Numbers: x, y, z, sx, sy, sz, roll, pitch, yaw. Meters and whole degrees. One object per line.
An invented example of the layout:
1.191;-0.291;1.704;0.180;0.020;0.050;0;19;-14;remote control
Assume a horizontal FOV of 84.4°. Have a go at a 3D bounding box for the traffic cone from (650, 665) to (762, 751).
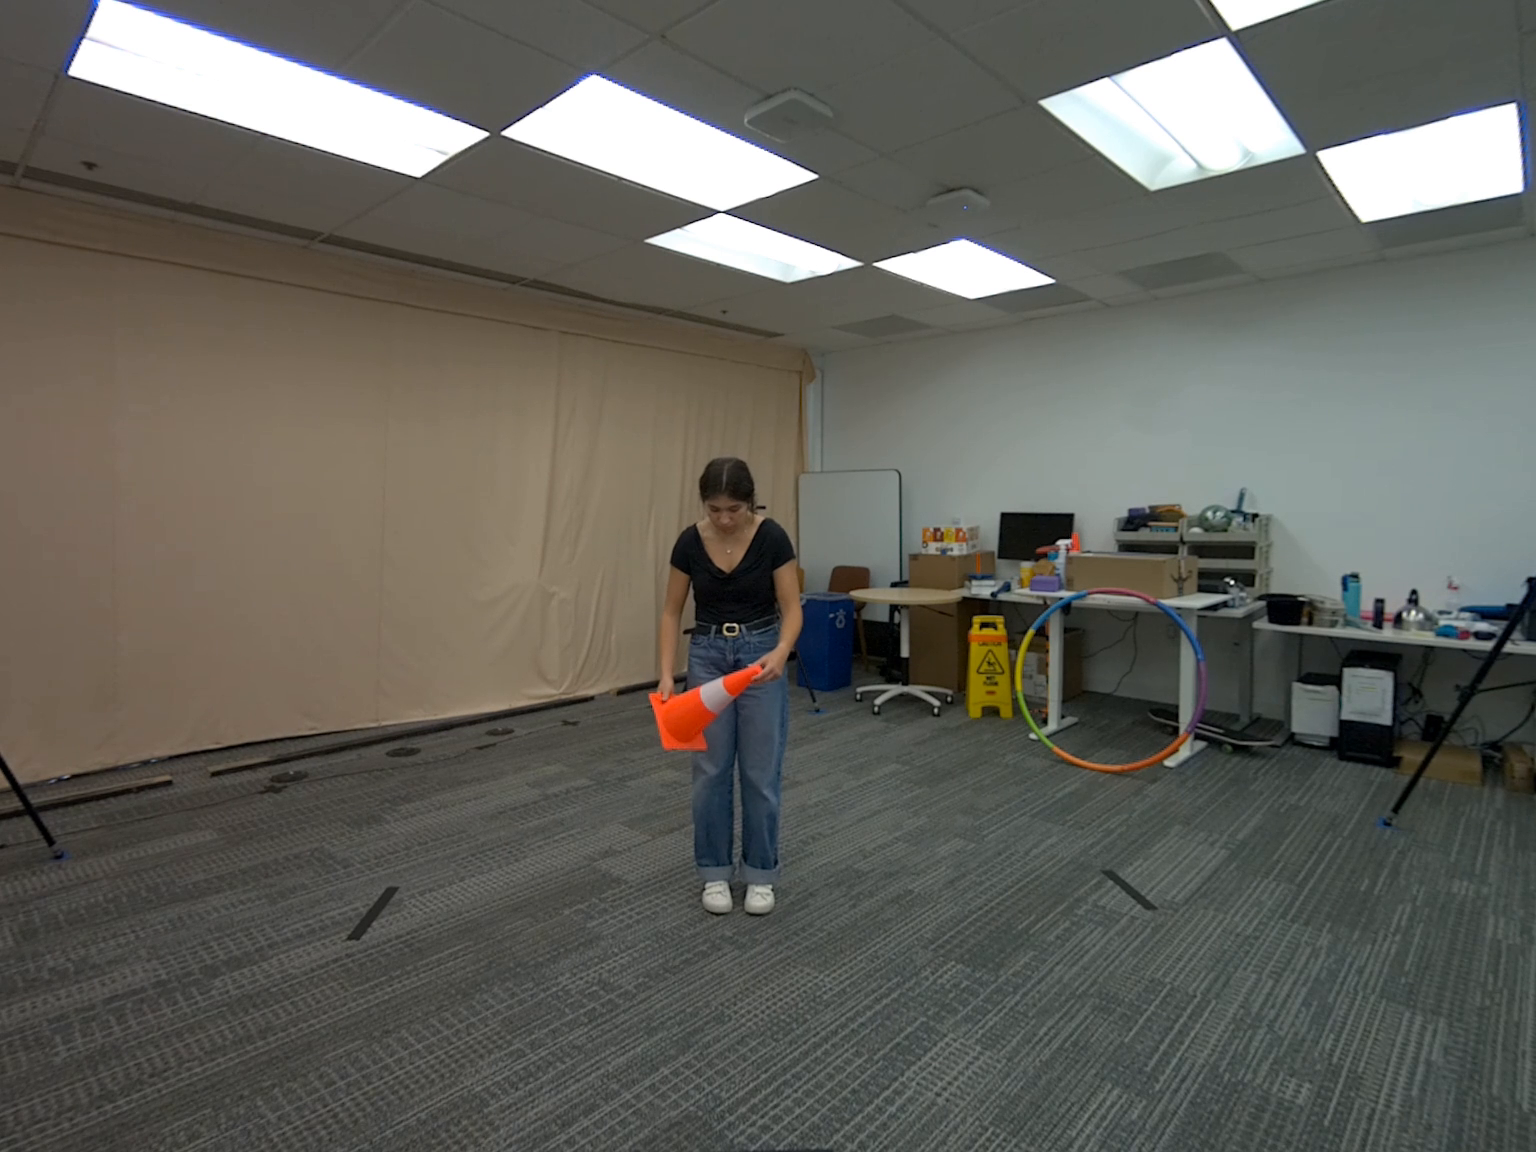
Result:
-0.165;0.397;2.710;0.388;0.208;0.197;-35;-33;29;traffic cone
